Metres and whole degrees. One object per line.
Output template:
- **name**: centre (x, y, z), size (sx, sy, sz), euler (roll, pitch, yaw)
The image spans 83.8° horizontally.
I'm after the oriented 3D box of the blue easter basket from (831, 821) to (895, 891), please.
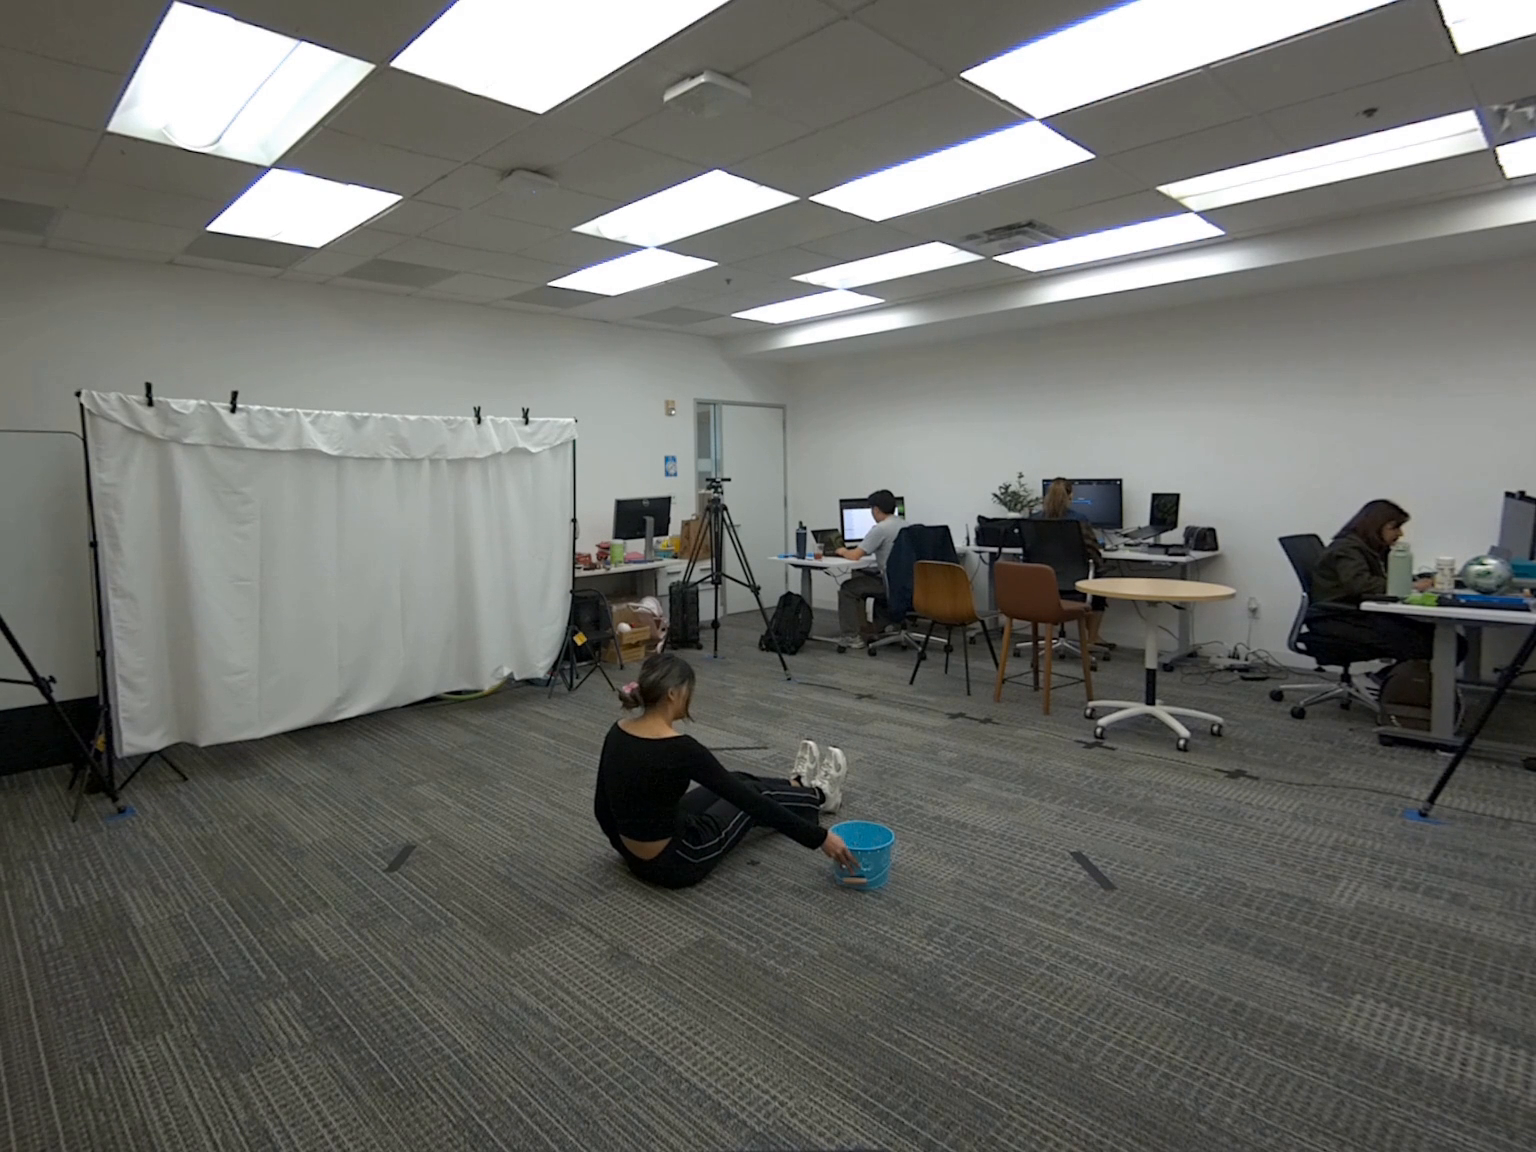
- **blue easter basket**: centre (0.320, 0.968, 2.968), size (0.243, 0.155, 0.245), euler (-2, 6, -2)
